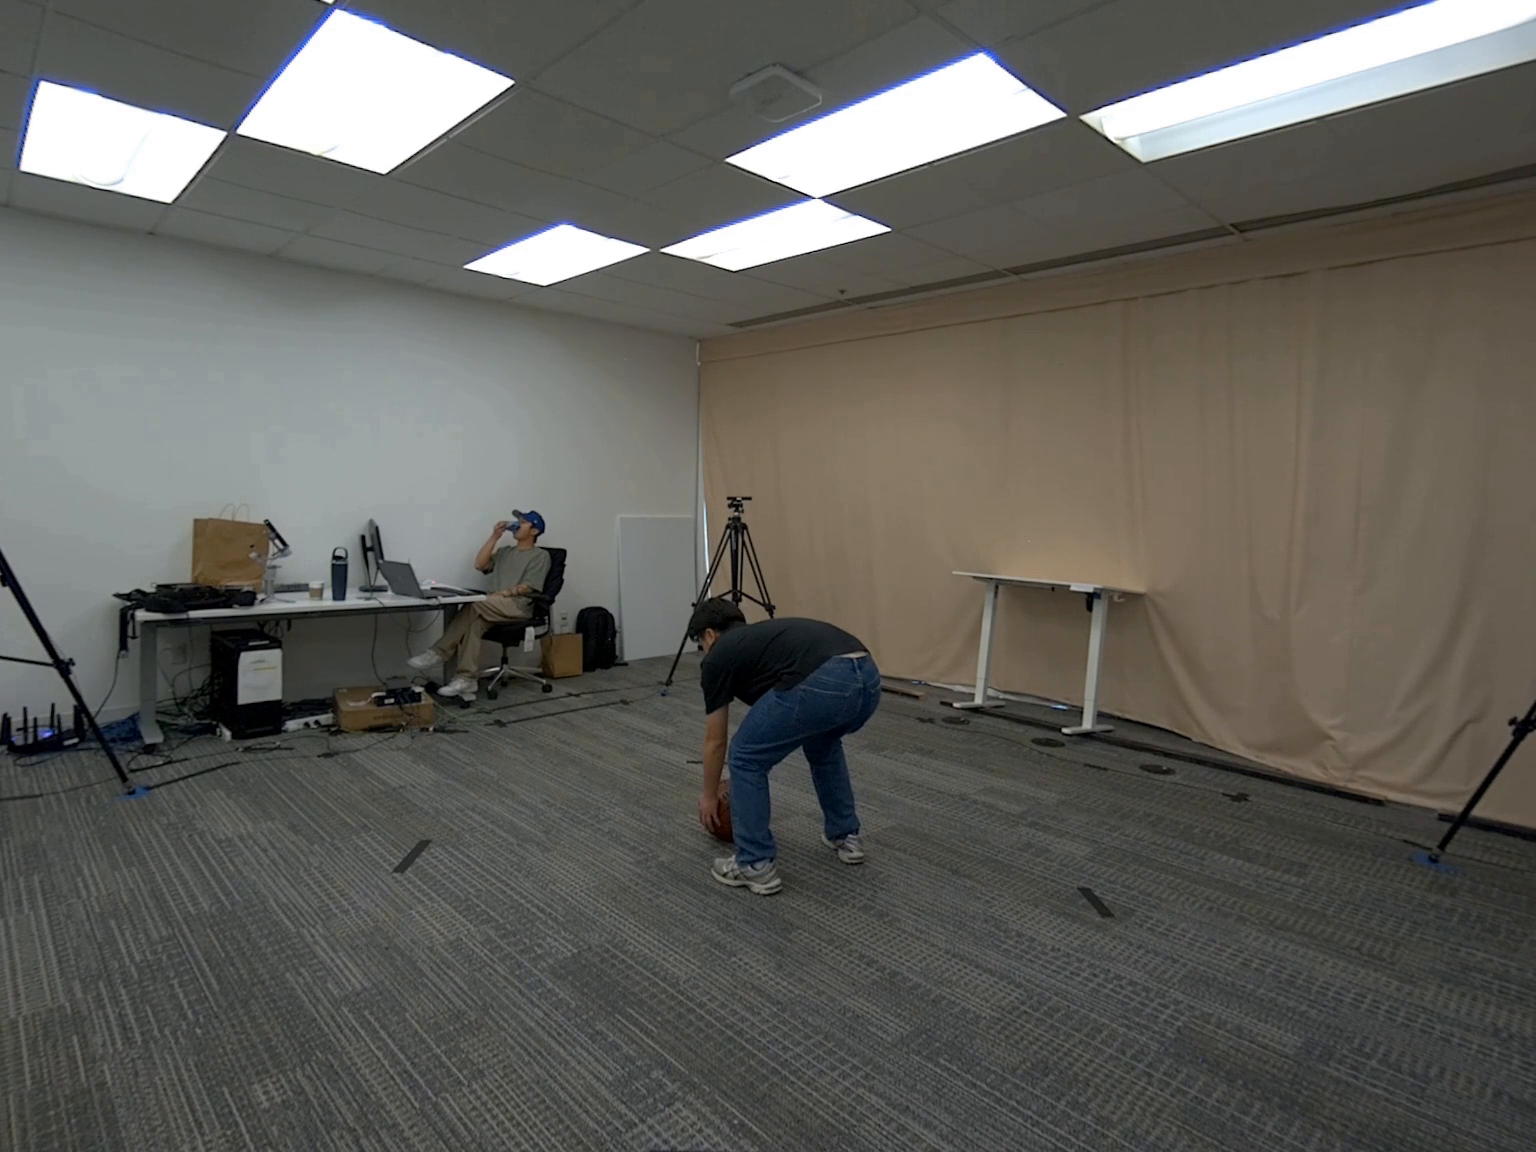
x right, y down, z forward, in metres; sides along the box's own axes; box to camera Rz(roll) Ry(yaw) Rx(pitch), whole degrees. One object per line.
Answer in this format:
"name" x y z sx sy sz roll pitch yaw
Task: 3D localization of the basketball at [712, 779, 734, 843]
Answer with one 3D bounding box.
"basketball" -0.155 0.957 3.447 0.236 0.235 0.237 1 4 -1
